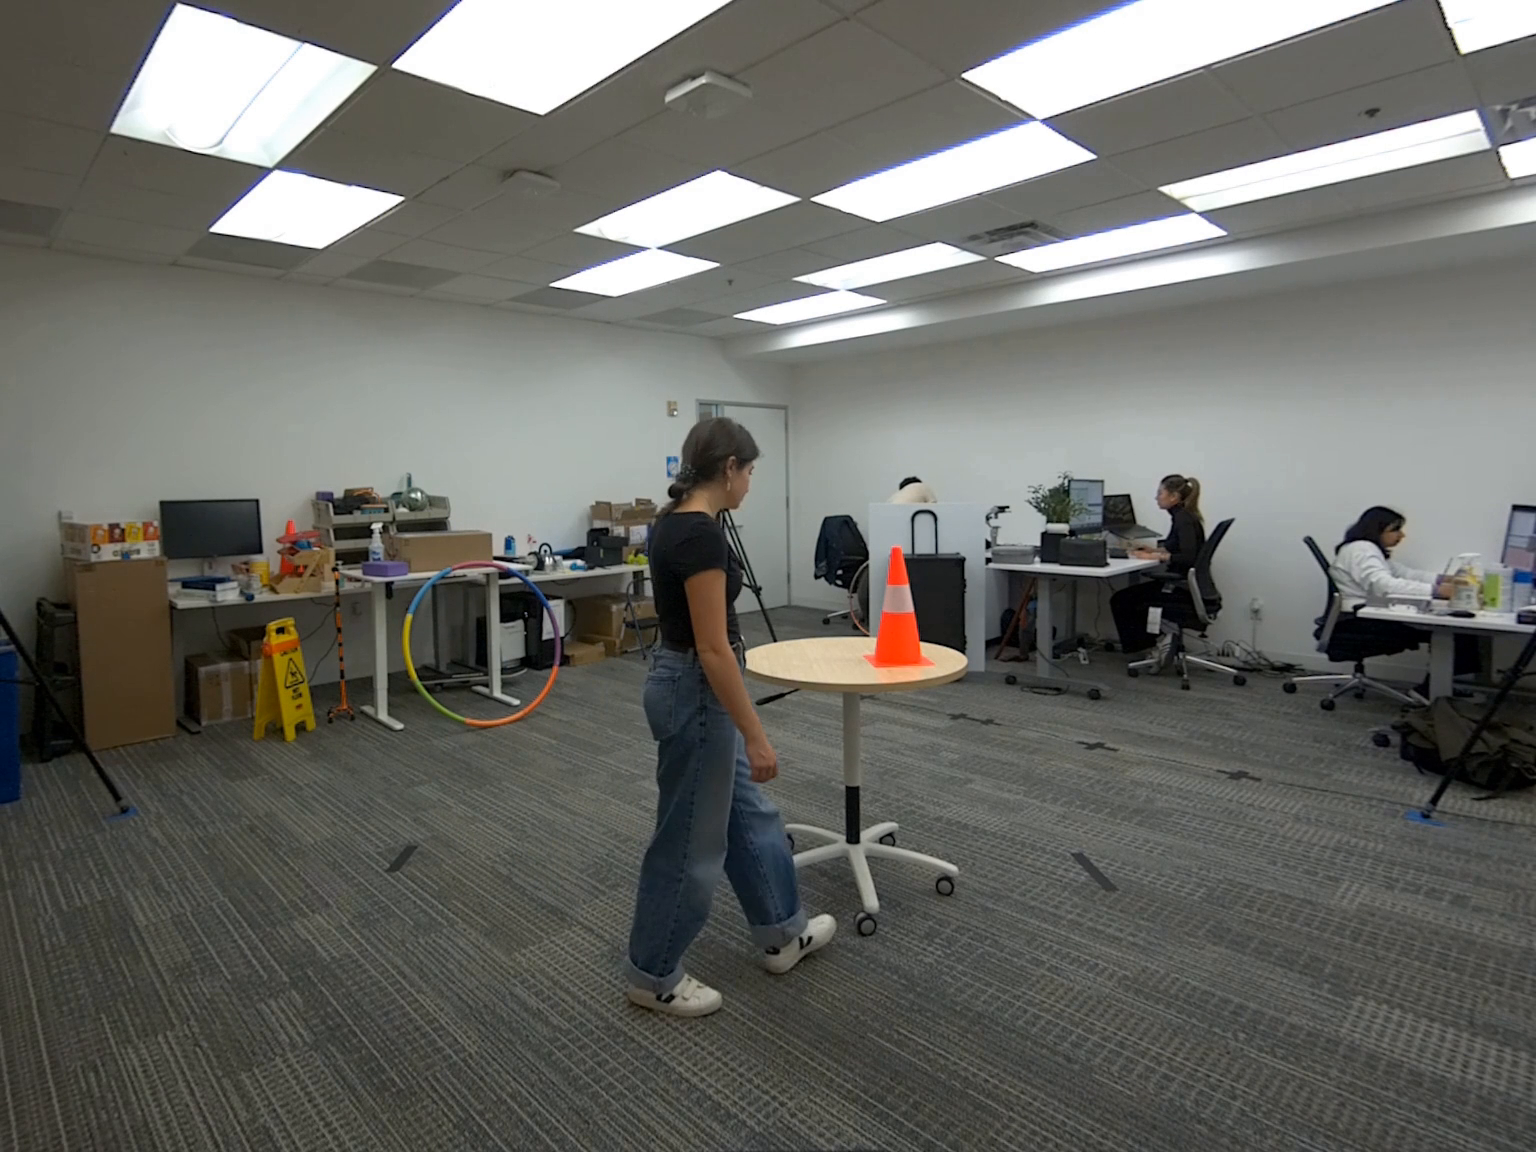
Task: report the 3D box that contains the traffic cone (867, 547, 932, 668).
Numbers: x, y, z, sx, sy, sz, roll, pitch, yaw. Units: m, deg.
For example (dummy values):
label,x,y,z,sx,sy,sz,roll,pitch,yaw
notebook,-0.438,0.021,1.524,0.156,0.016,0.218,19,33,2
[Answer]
label,x,y,z,sx,sy,sz,roll,pitch,yaw
traffic cone,0.433,0.097,2.839,0.203,0.382,0.205,-4,4,-9
